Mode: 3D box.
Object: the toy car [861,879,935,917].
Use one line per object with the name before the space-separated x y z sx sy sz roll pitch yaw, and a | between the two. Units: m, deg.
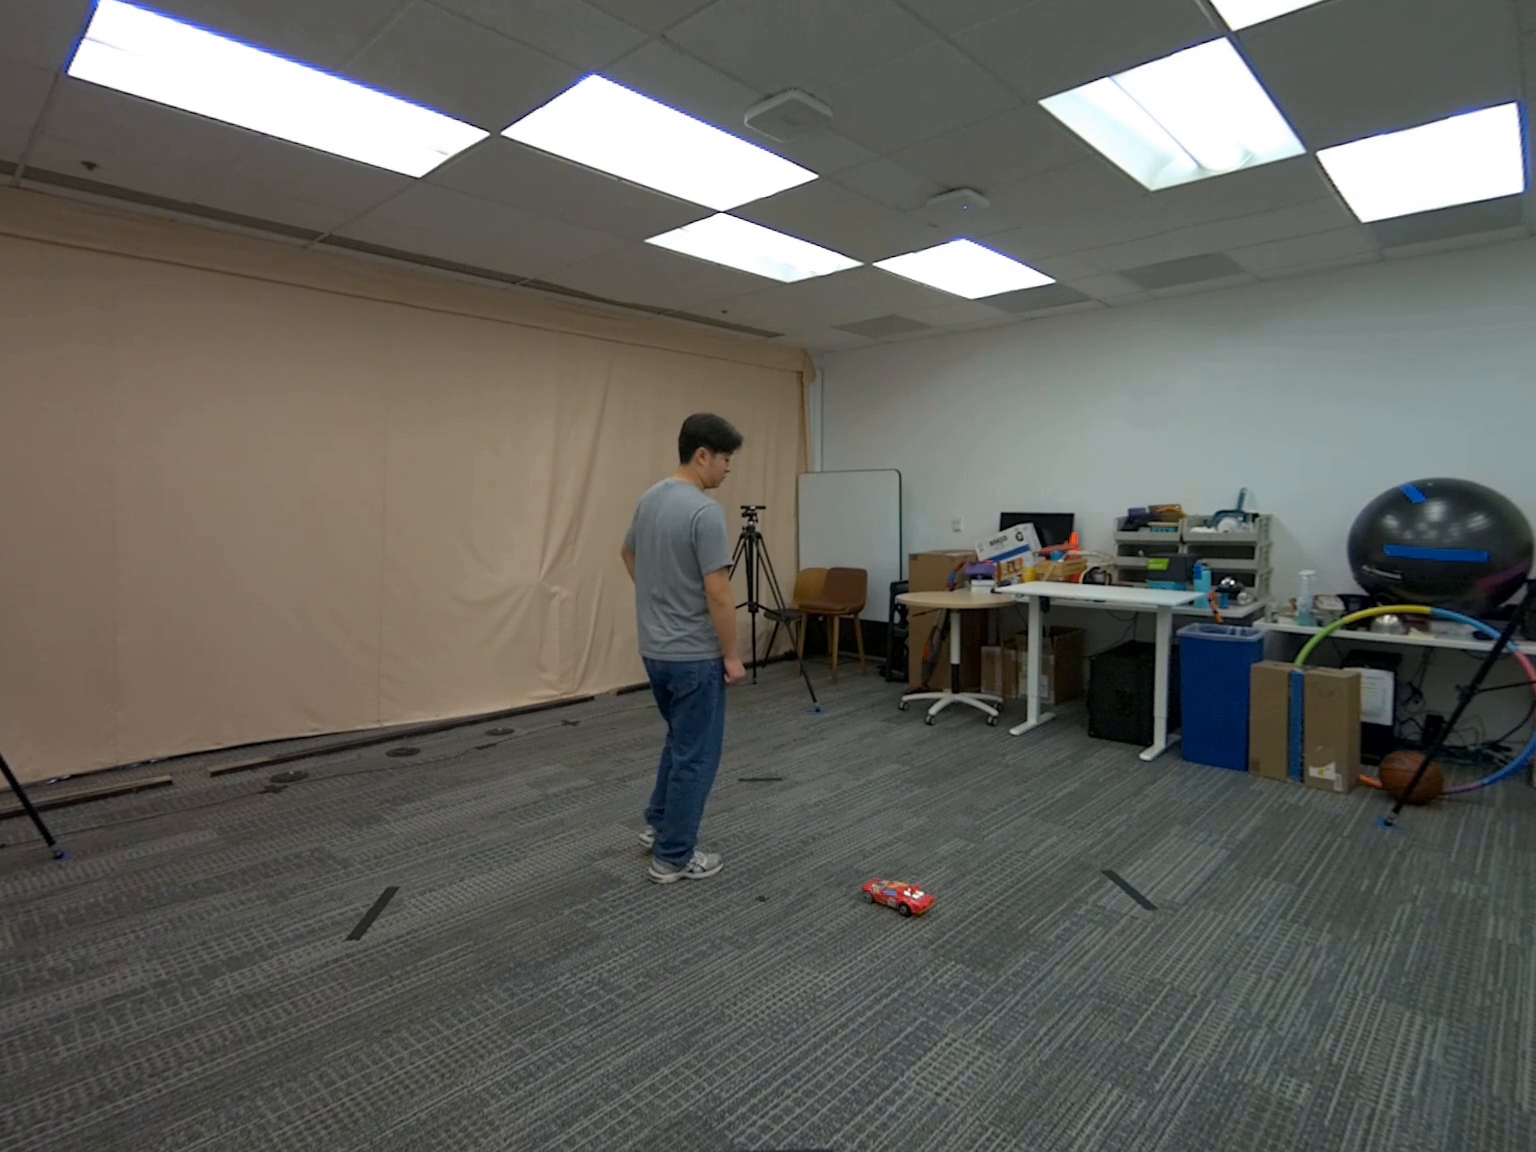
toy car | 0.462 1.114 2.917 0.262 0.083 0.126 -10 -3 42
